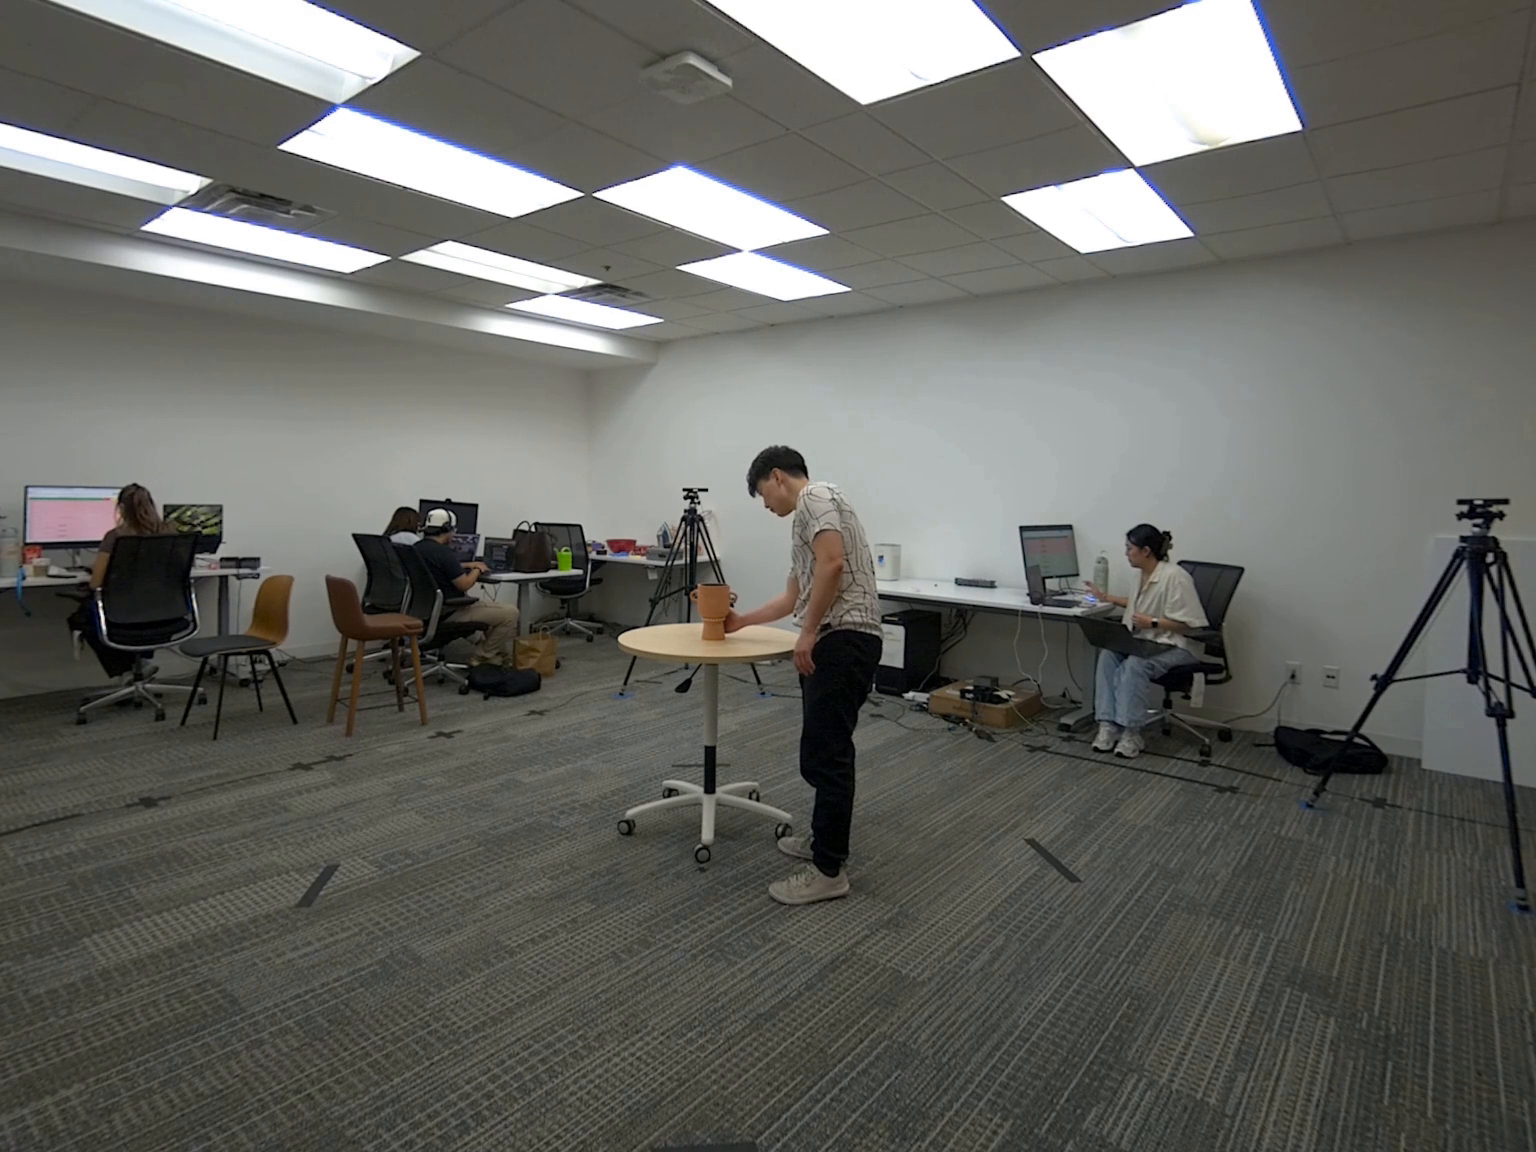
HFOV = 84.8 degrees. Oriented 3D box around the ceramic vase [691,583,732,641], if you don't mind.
[{"bbox_3d":[-0.235,0.142,3.472,0.130,0.219,0.164,-2,5,-39],"label":"ceramic vase"}]
